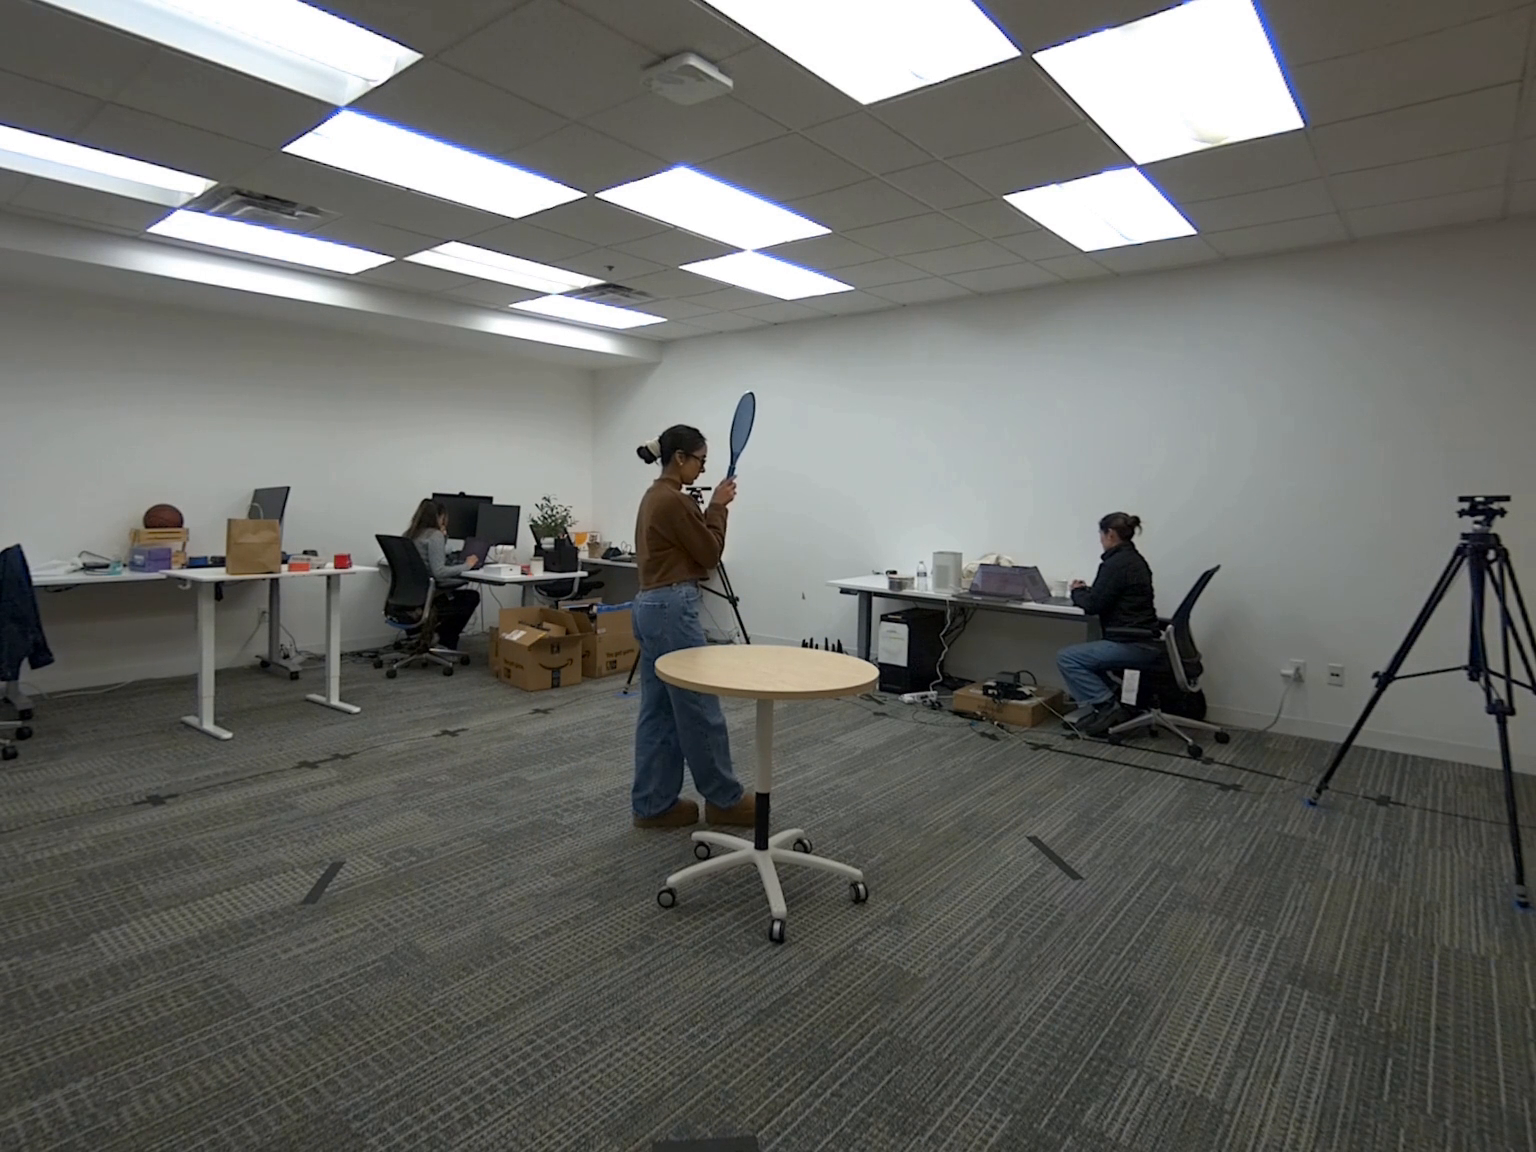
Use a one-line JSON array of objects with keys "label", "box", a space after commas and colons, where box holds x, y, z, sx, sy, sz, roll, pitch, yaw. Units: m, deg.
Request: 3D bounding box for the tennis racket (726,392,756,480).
[{"label": "tennis racket", "box": [-0.153, -0.552, 3.491, 0.032, 0.431, 0.210, 18, 8, 16]}]
